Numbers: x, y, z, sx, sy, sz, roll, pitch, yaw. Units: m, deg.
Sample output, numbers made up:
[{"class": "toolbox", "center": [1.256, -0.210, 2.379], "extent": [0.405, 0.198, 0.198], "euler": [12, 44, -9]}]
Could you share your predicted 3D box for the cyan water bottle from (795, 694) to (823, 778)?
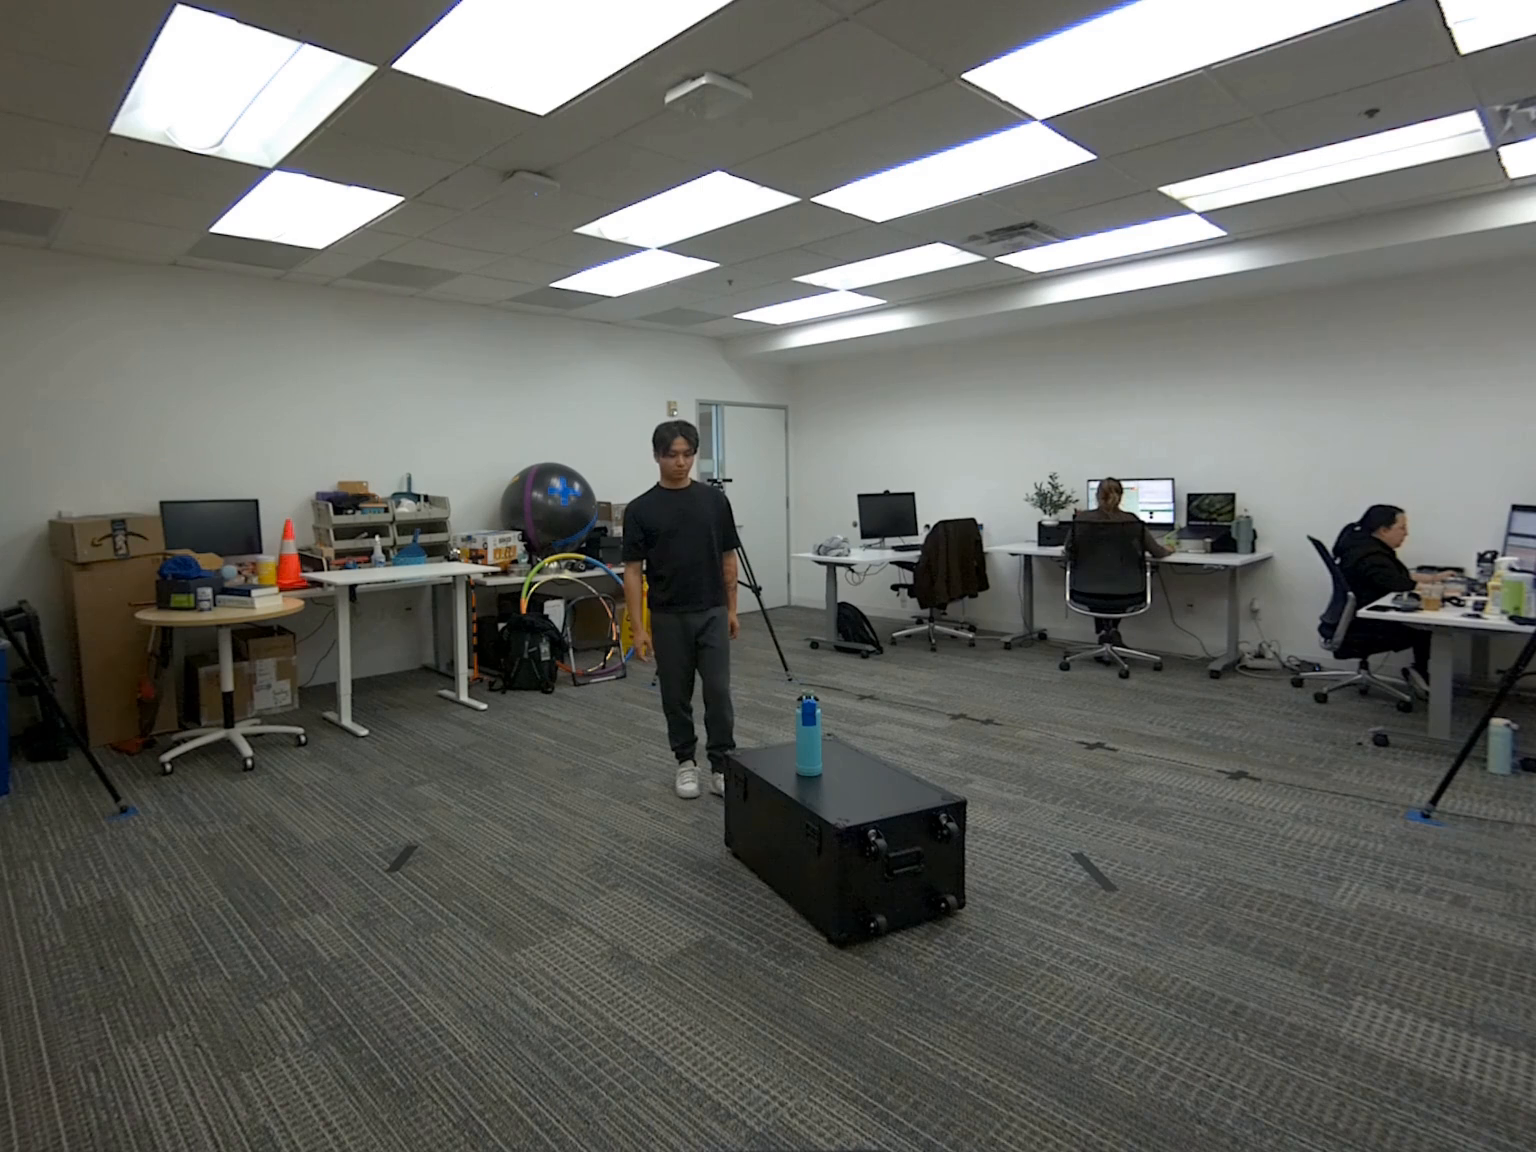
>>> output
[{"class": "cyan water bottle", "center": [0.147, 0.545, 2.964], "extent": [0.092, 0.282, 0.093], "euler": [-1, 6, -2]}]
